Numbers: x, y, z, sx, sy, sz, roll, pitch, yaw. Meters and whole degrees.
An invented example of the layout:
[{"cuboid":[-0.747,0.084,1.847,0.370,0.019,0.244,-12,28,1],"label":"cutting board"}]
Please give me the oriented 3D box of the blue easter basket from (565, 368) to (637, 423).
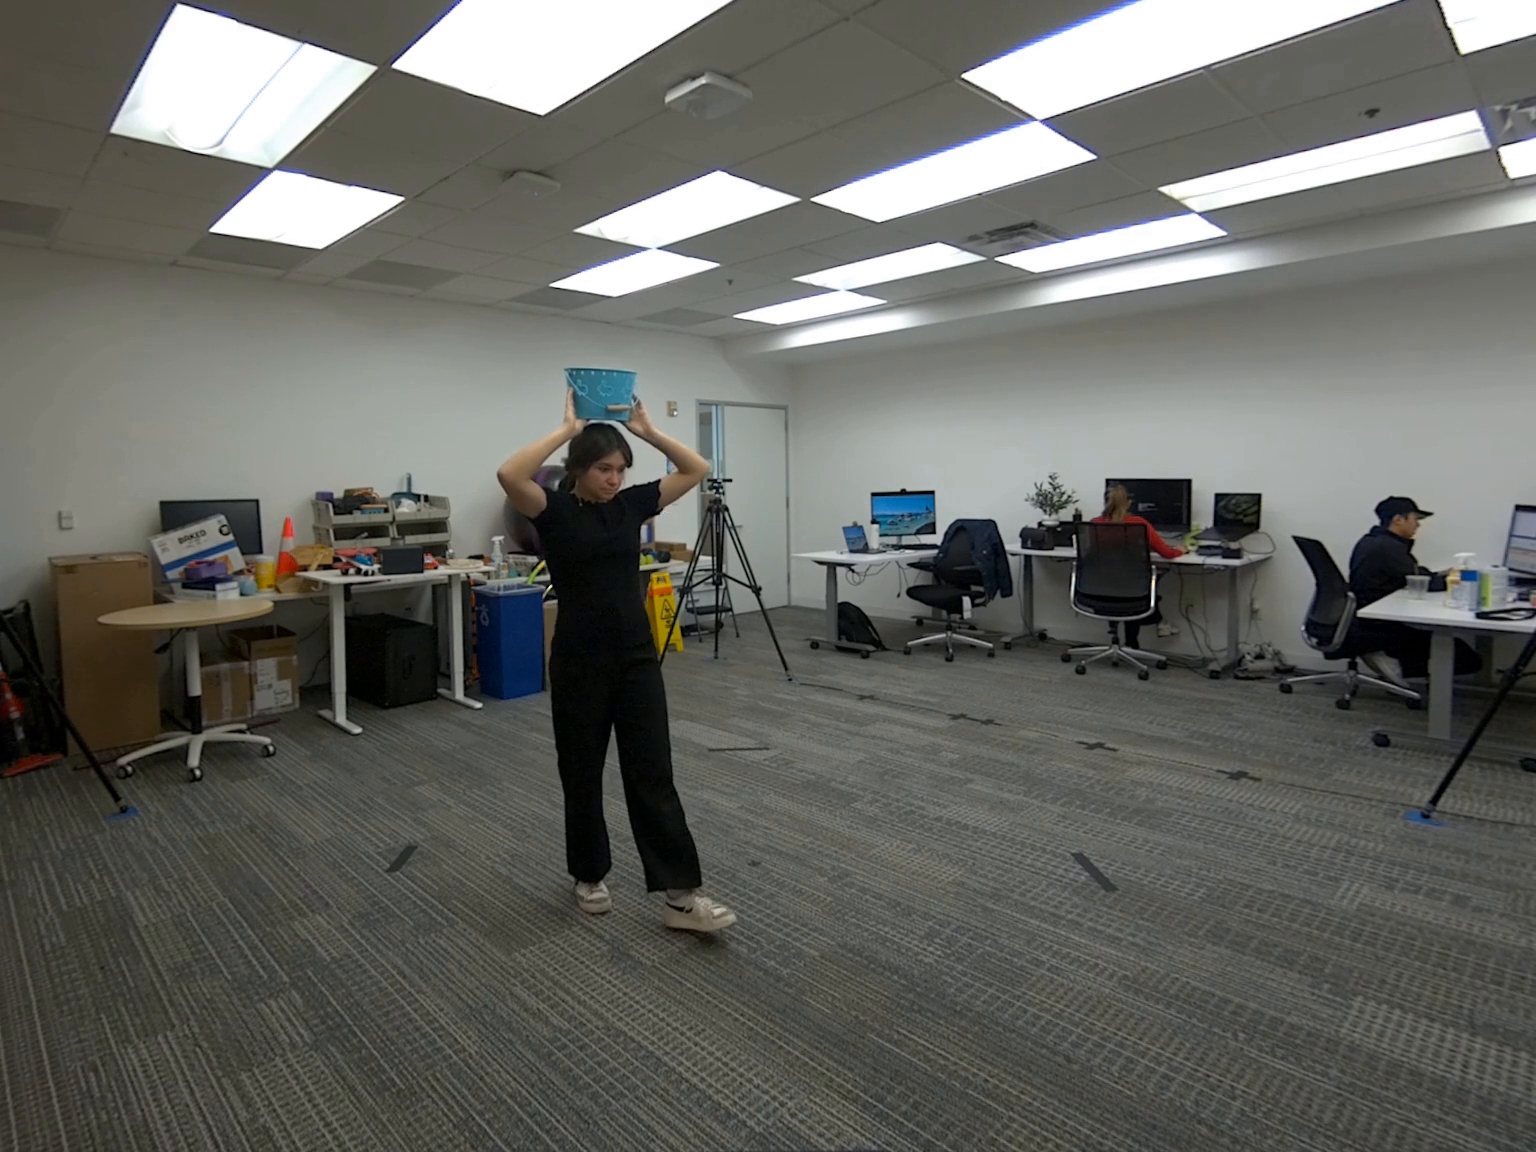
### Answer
[{"cuboid":[-0.532,-0.566,2.676,0.243,0.155,0.245,-1,6,-2],"label":"blue easter basket"}]
